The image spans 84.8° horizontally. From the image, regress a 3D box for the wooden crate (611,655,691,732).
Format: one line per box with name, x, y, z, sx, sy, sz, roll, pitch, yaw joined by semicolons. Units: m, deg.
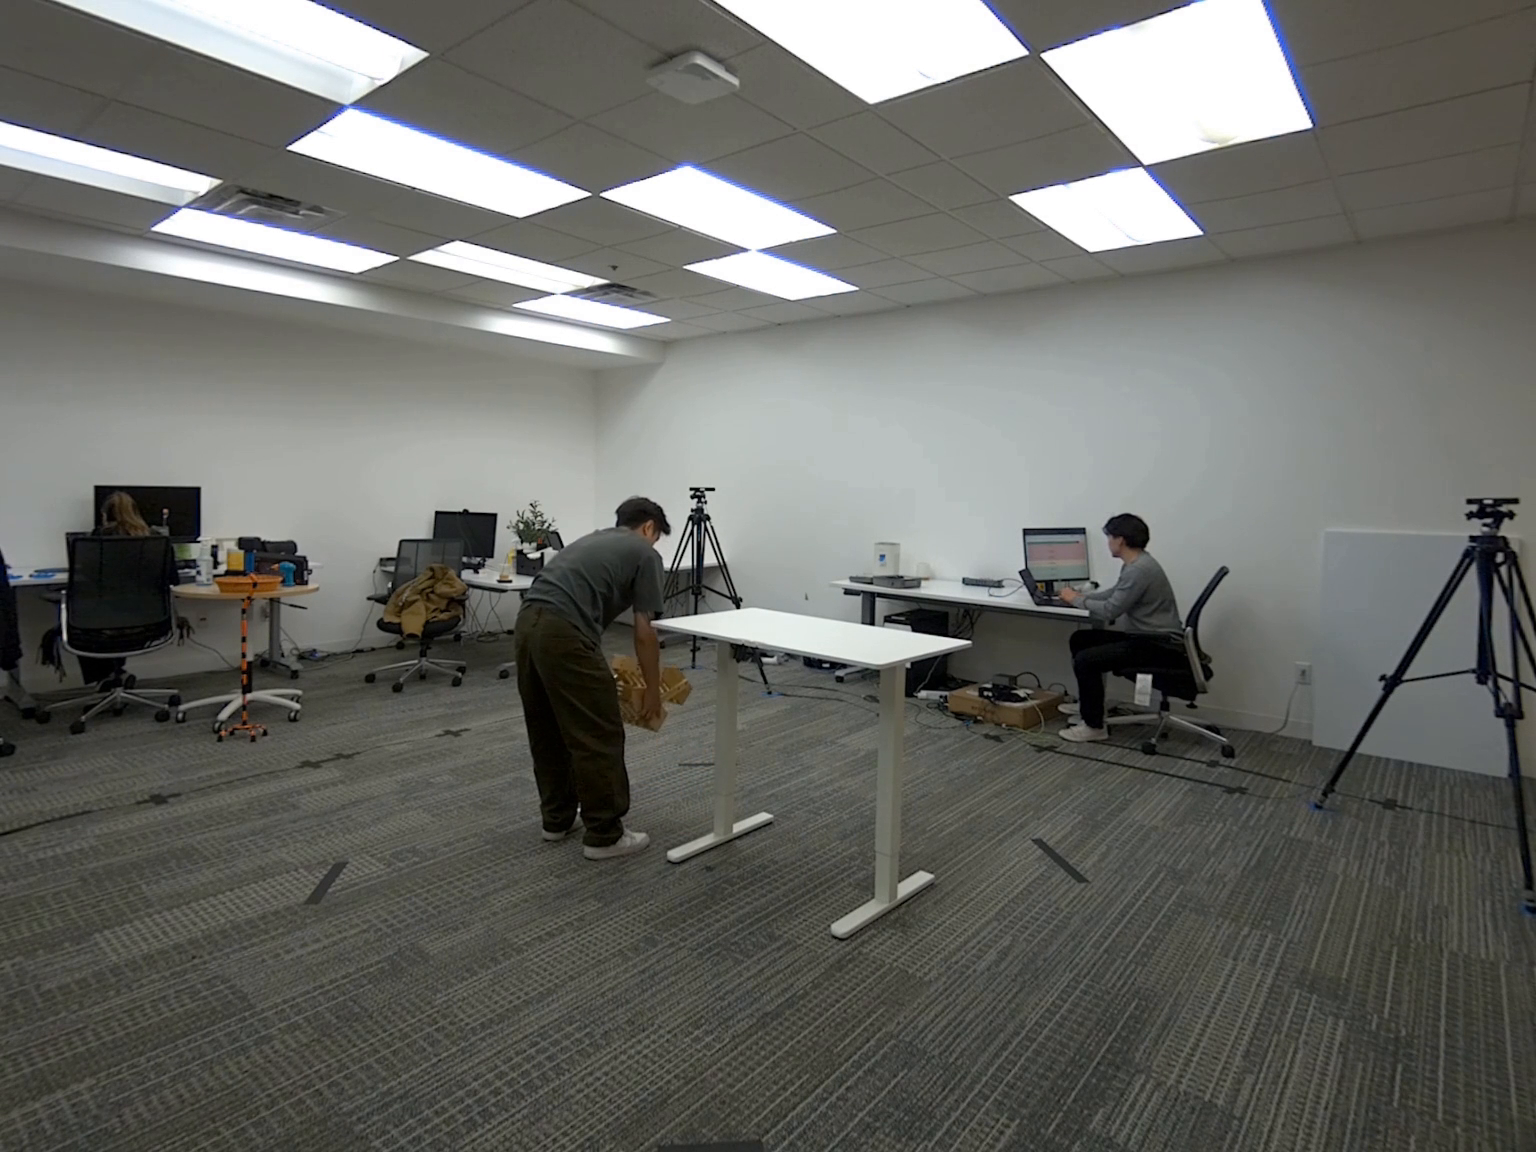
wooden crate;-0.561;0.451;3.545;0.335;0.275;0.290;8;-38;35
